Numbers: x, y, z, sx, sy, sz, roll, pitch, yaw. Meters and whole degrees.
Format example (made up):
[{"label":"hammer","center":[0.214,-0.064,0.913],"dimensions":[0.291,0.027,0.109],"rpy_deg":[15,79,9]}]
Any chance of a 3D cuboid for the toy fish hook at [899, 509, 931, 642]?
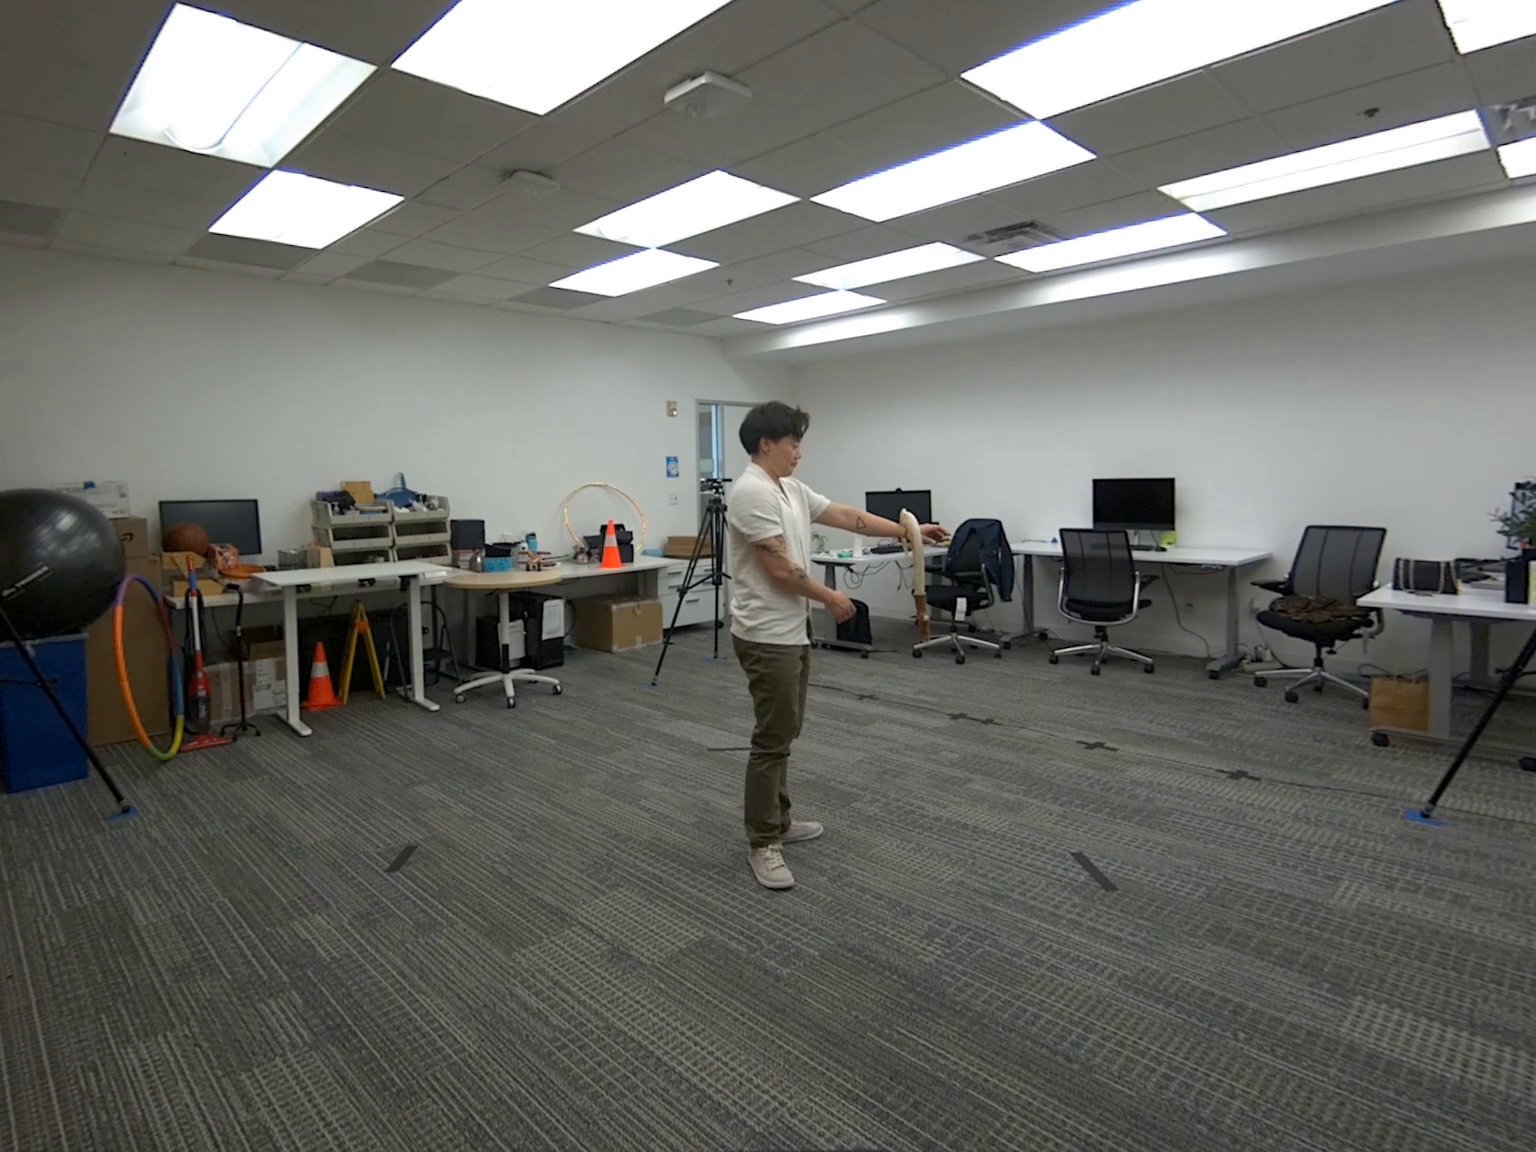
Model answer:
[{"label":"toy fish hook","center":[0.551,0.001,3.229],"dimensions":[0.048,0.498,0.228],"rpy_deg":[-8,16,0]}]
